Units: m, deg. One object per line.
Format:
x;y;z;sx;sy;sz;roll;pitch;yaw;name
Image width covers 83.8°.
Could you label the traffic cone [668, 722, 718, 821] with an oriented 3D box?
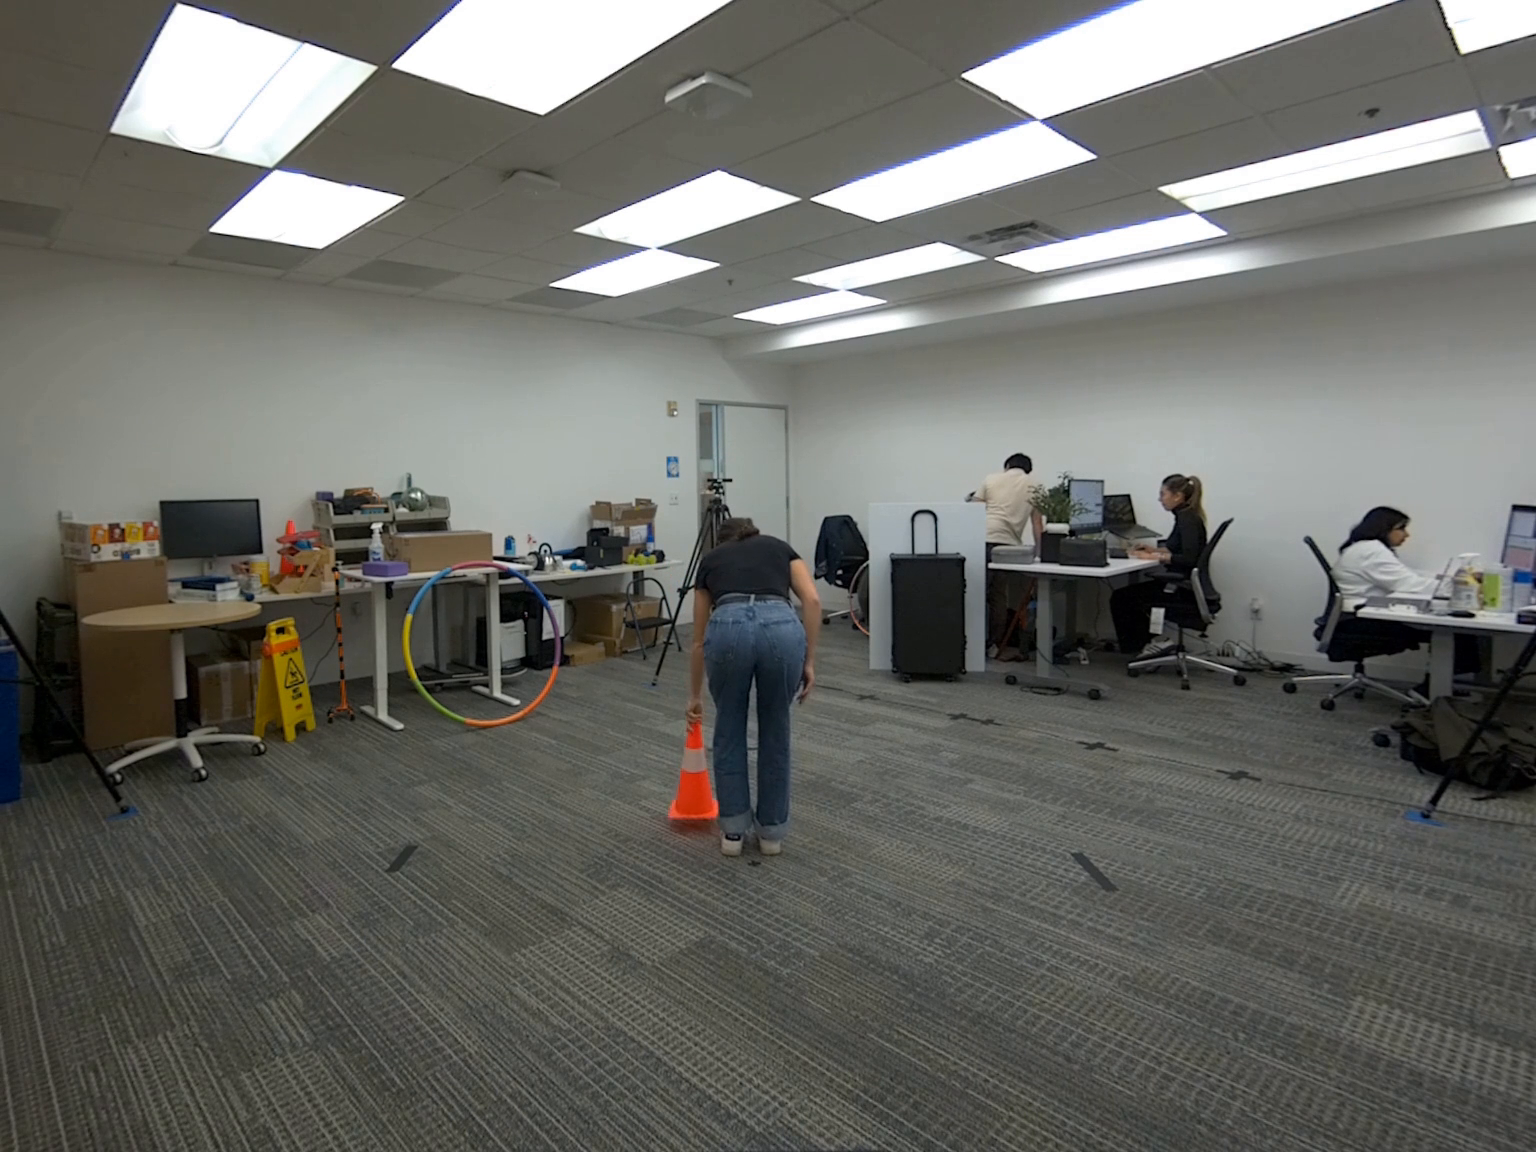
-0.289;0.756;3.475;0.206;0.382;0.203;1;5;3;traffic cone
